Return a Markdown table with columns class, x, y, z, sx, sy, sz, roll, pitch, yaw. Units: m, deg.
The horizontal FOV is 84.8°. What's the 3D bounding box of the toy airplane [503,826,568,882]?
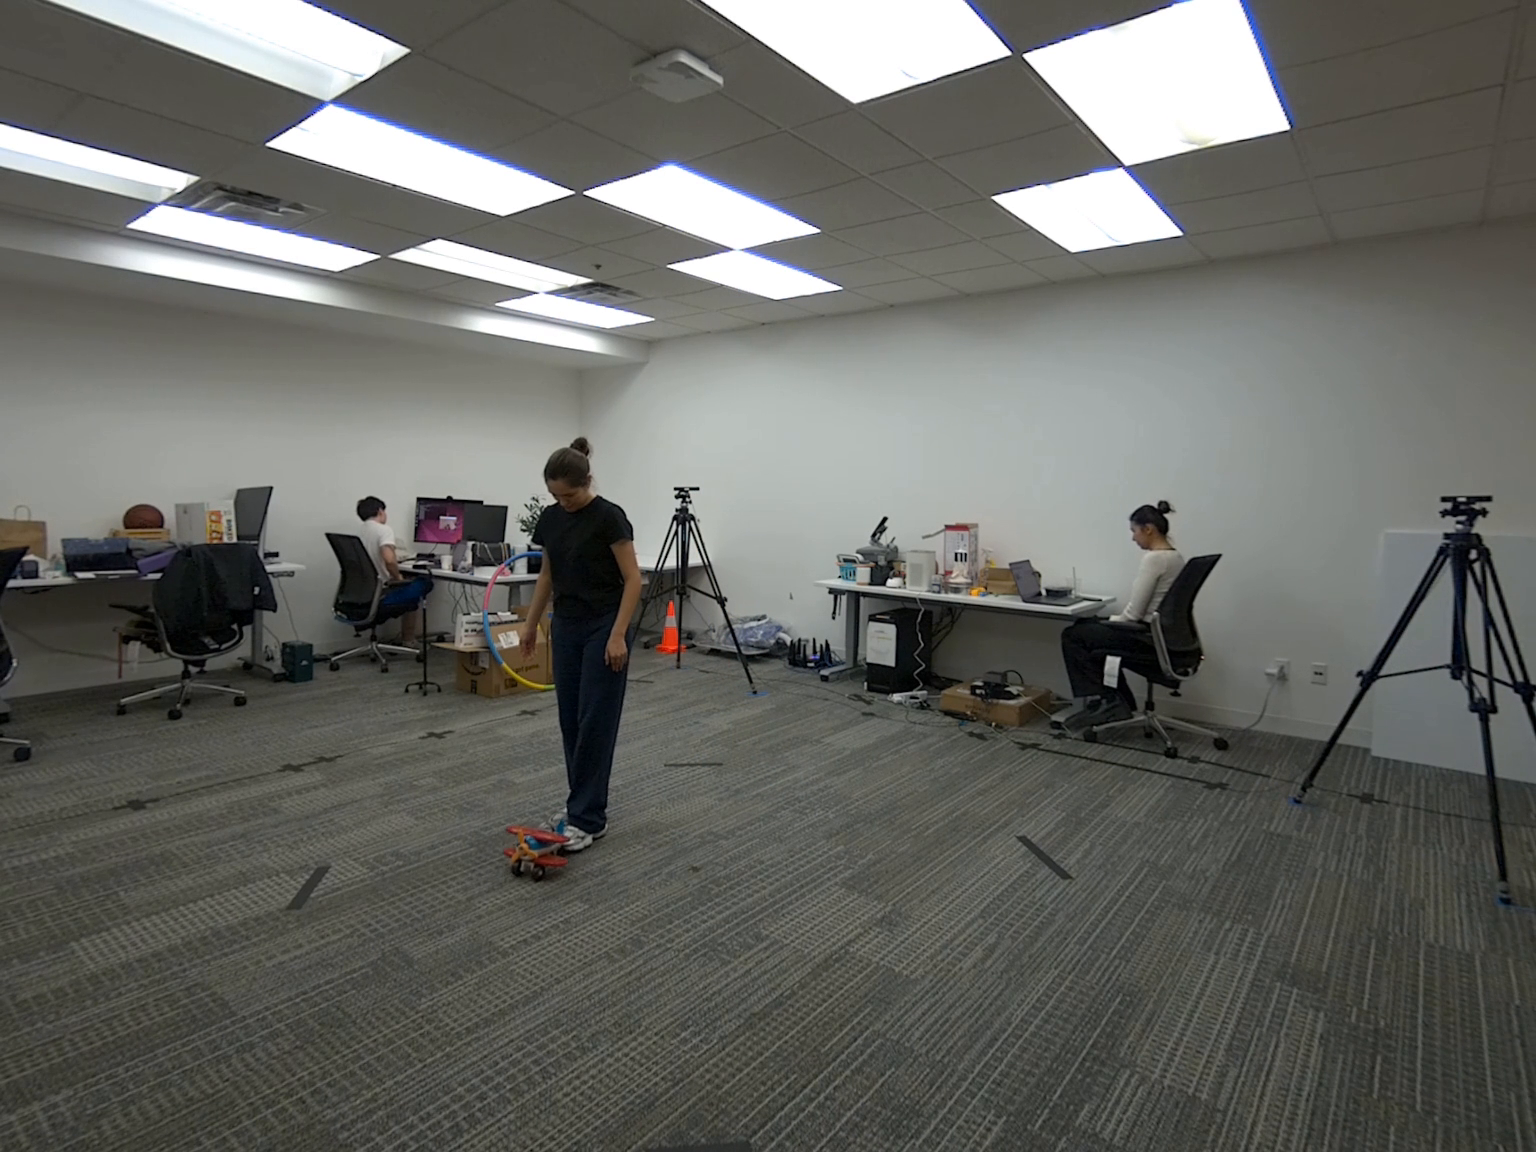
| class | x | y | z | sx | sy | sz | roll | pitch | yaw |
| --- | --- | --- | --- | --- | --- | --- | --- | --- | --- |
| toy airplane | -0.832 | 0.979 | 3.116 | 0.250 | 0.155 | 0.262 | -1 | 7 | -4 |
